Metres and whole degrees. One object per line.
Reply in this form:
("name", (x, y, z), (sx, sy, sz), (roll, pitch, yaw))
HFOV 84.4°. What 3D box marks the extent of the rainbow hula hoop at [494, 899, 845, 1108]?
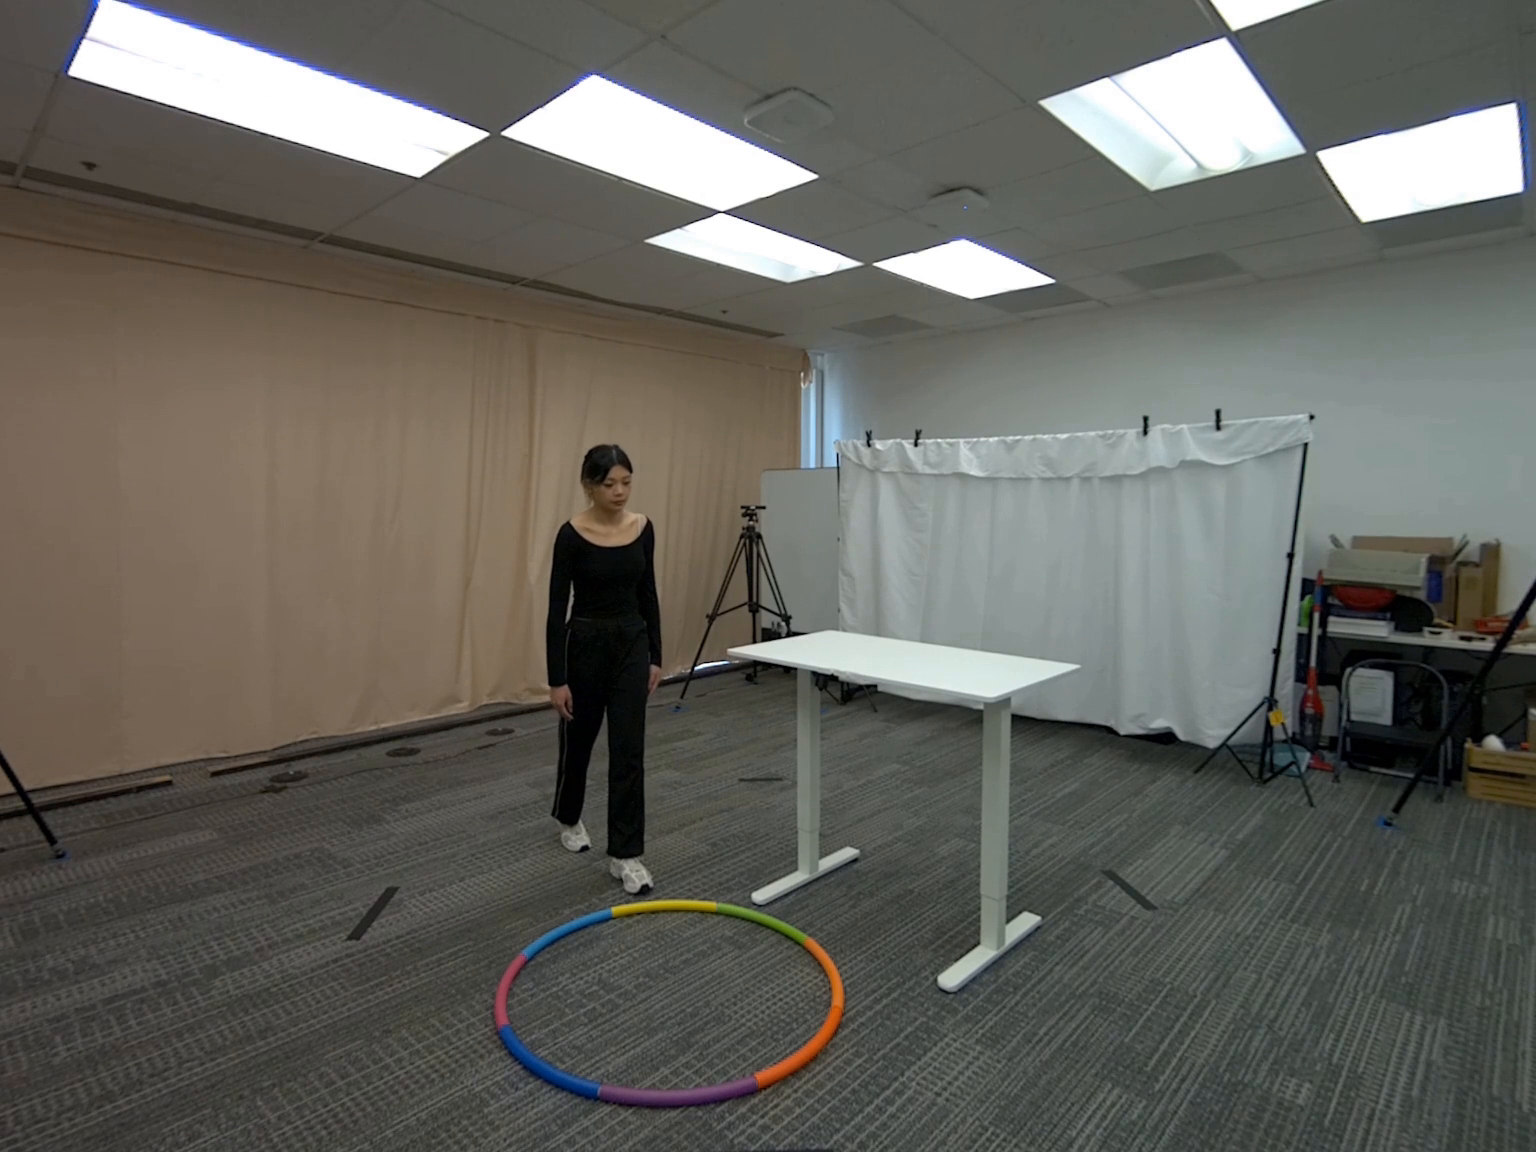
("rainbow hula hoop", (-0.272, 1.164, 2.431), (0.978, 0.035, 0.982), (-1, 5, -2))
